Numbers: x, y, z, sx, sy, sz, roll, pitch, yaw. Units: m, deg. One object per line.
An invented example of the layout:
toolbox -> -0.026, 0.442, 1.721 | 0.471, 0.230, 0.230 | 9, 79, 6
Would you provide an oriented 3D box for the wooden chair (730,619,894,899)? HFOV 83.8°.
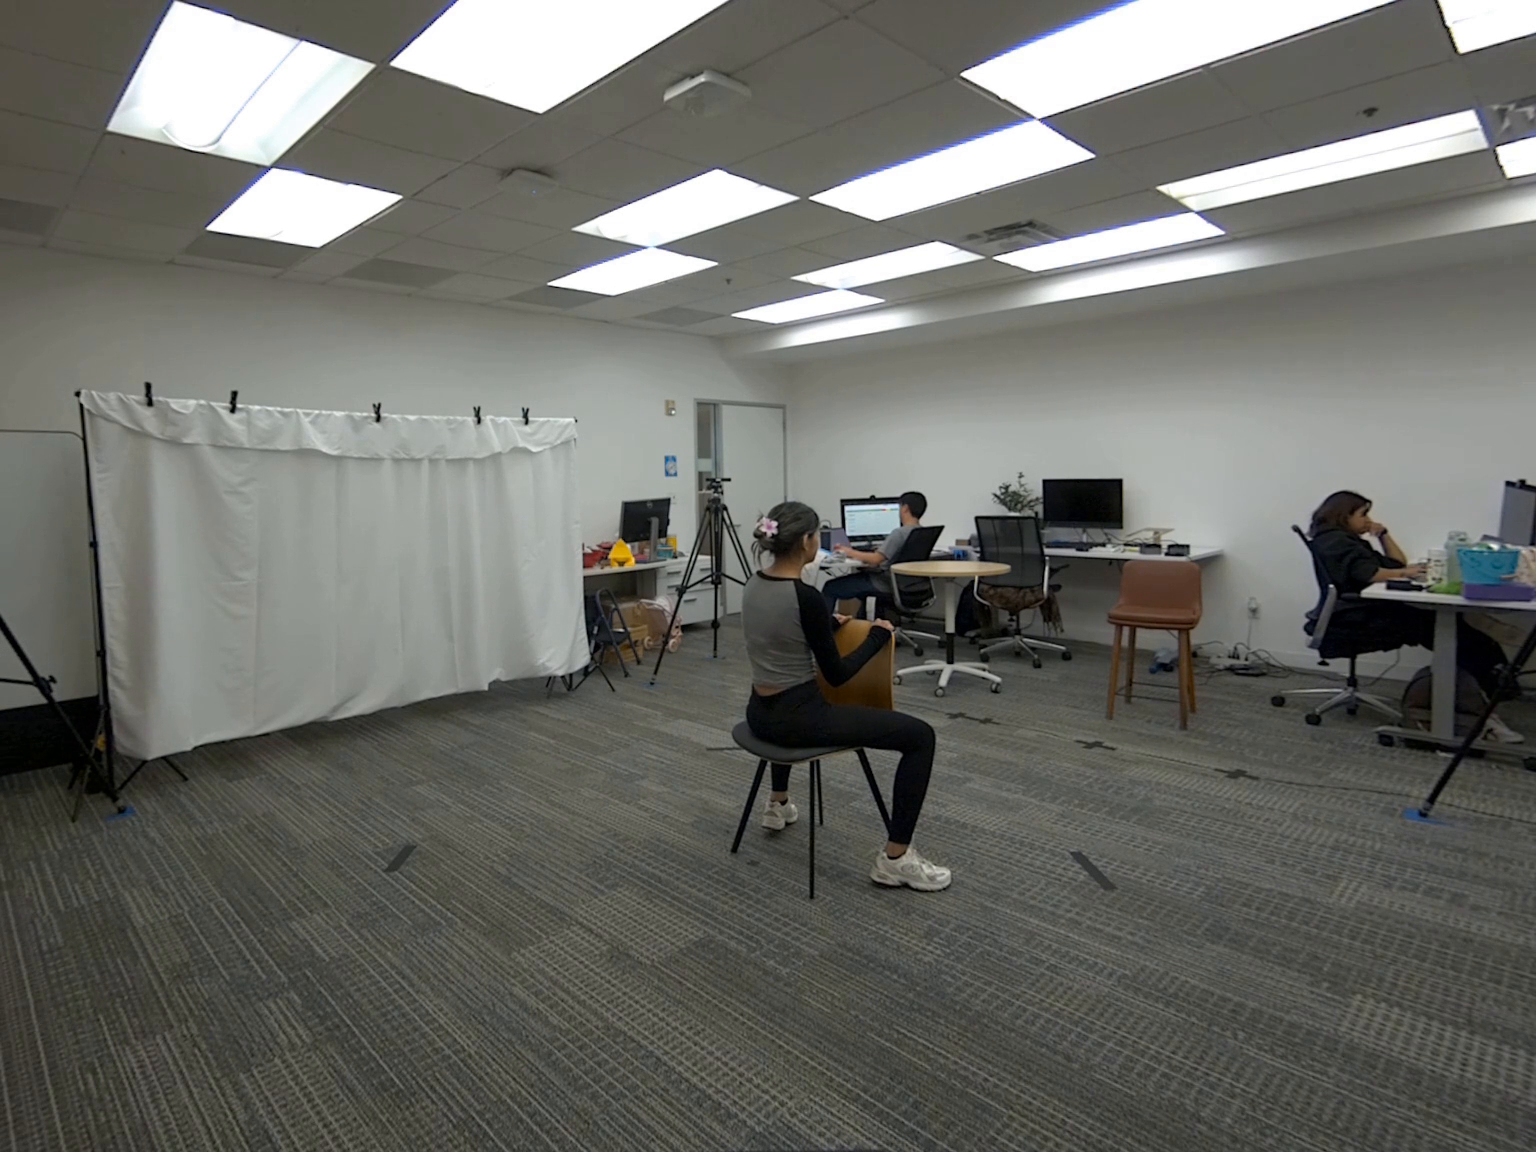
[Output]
wooden chair -> 0.167, 0.612, 3.100 | 0.508, 0.877, 0.492 | 2, 1, -37
